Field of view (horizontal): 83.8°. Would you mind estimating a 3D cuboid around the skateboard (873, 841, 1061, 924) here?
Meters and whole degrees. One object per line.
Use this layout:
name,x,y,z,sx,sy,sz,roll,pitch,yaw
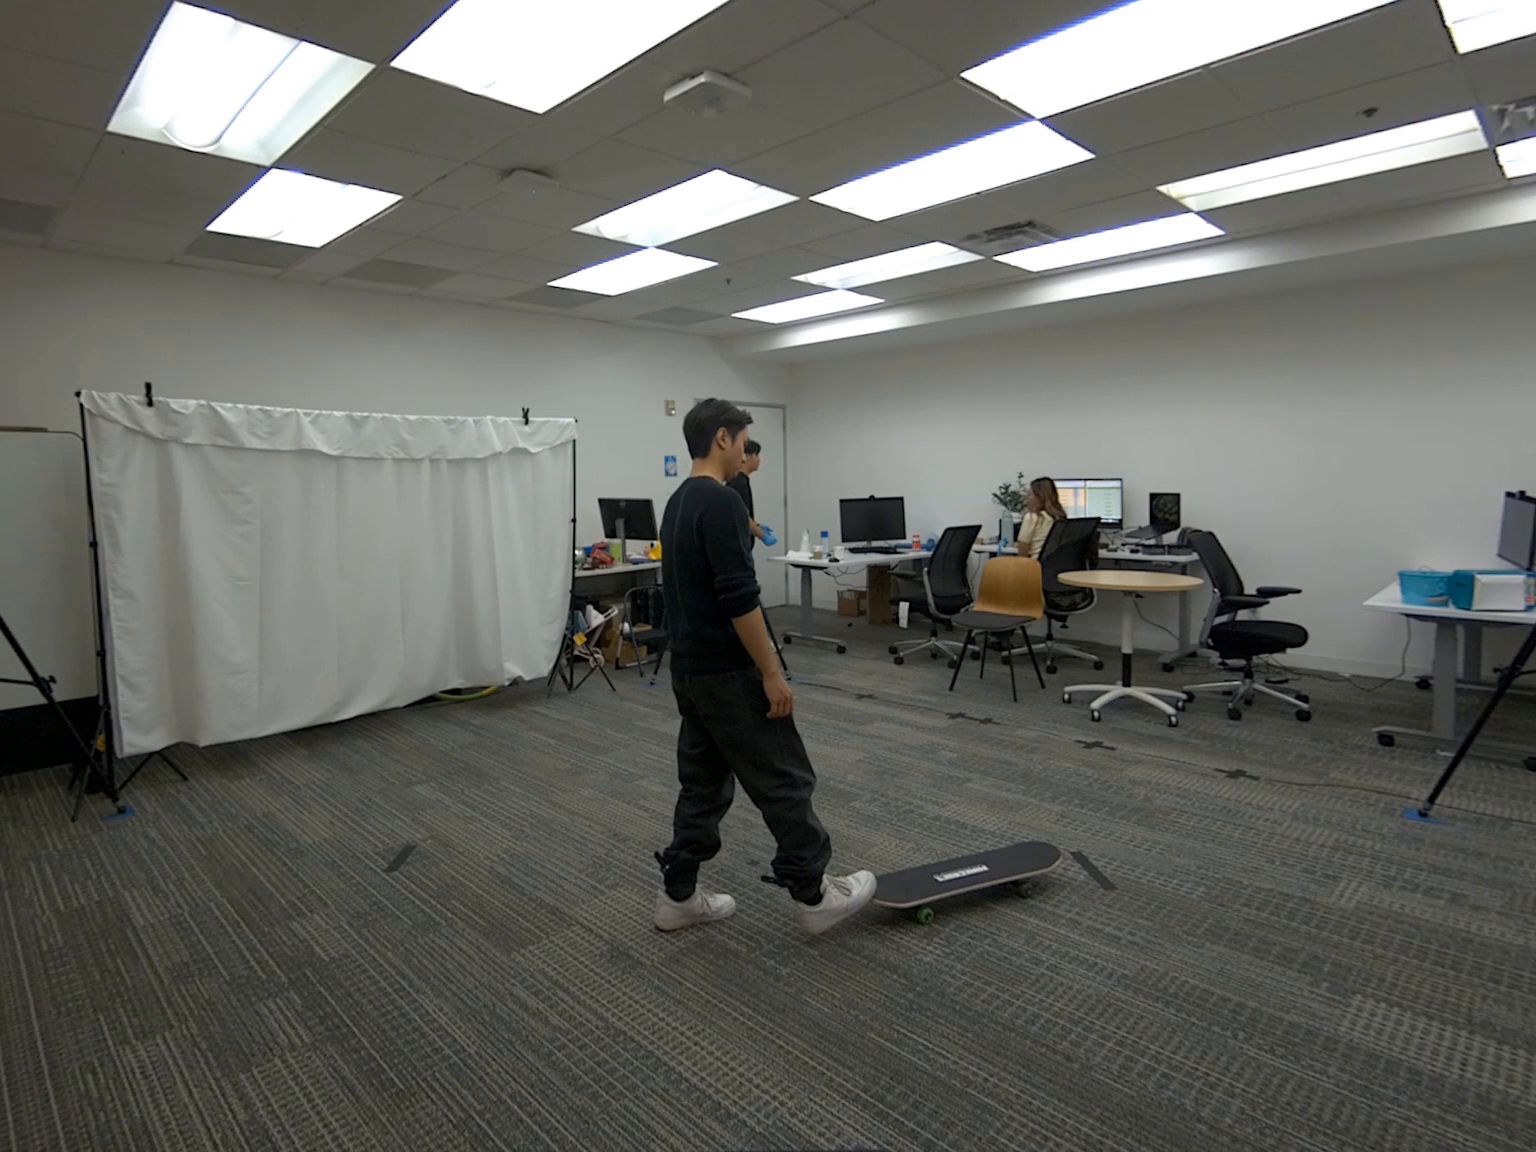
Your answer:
skateboard,0.634,1.008,2.809,0.770,0.110,0.198,-4,6,-23
